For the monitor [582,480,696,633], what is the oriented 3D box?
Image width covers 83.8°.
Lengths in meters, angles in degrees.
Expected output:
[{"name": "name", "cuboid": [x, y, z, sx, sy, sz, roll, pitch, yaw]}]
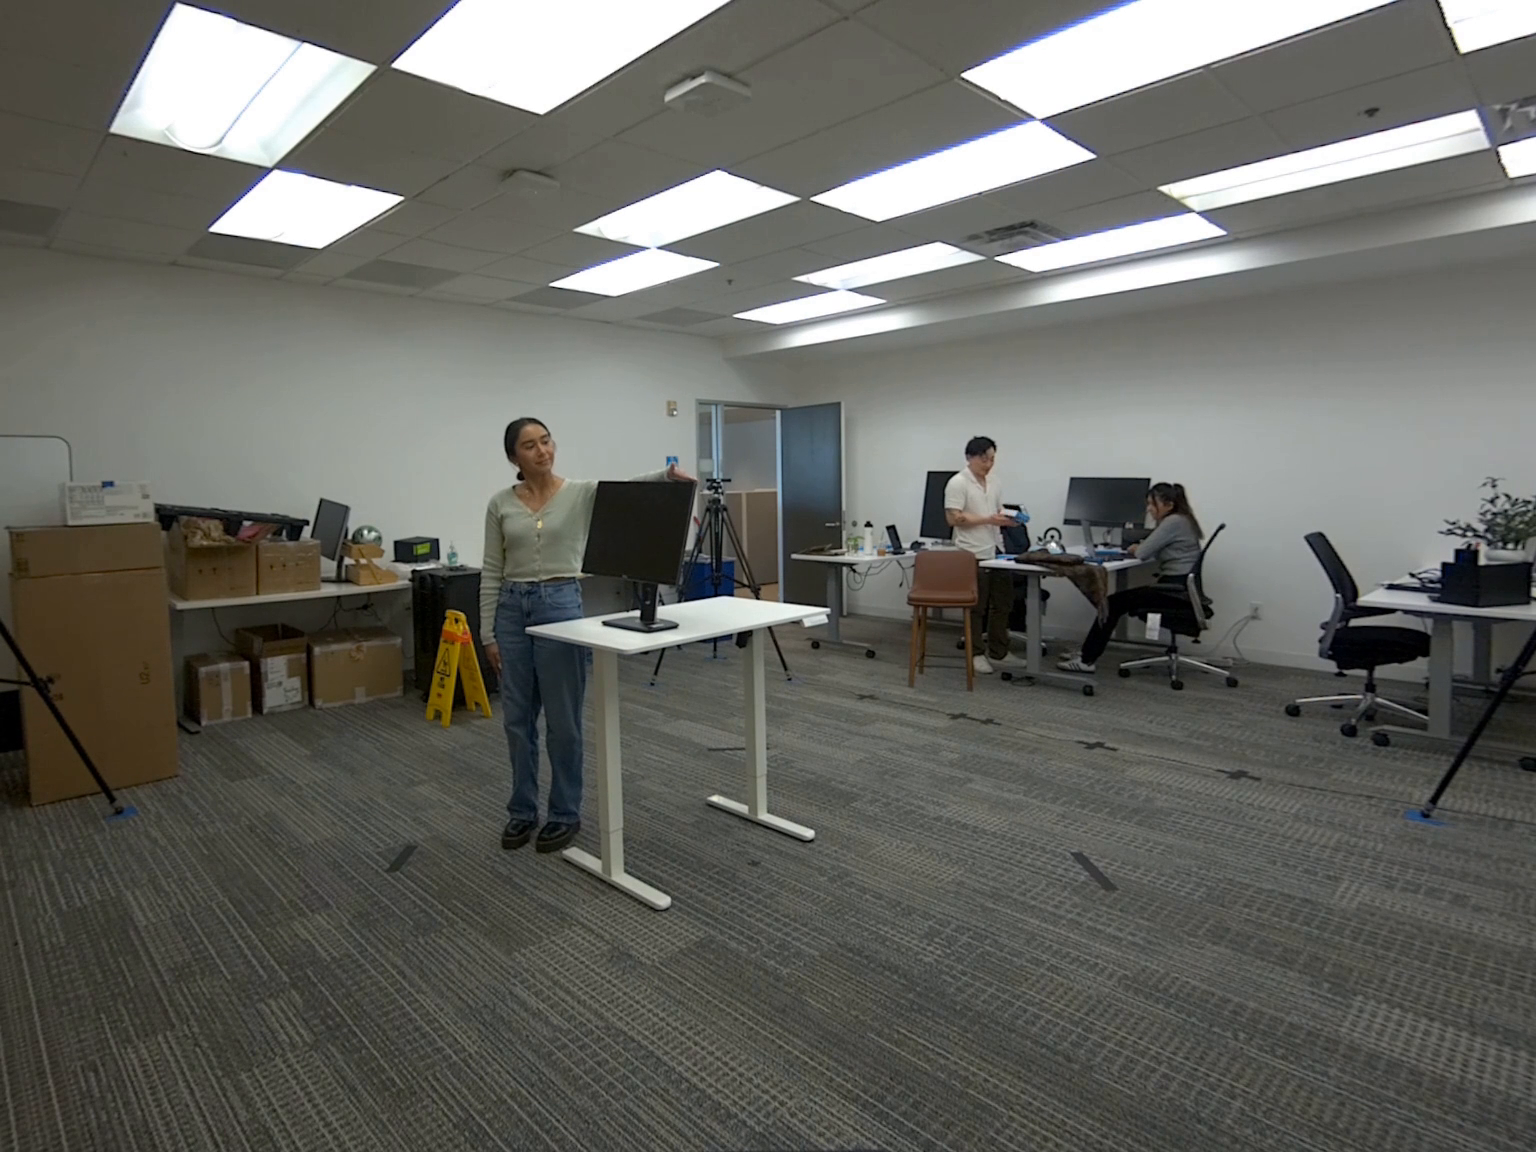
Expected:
[{"name": "monitor", "cuboid": [-0.445, -0.074, 3.029, 0.555, 0.522, 0.182, 3, 3, 42]}]
